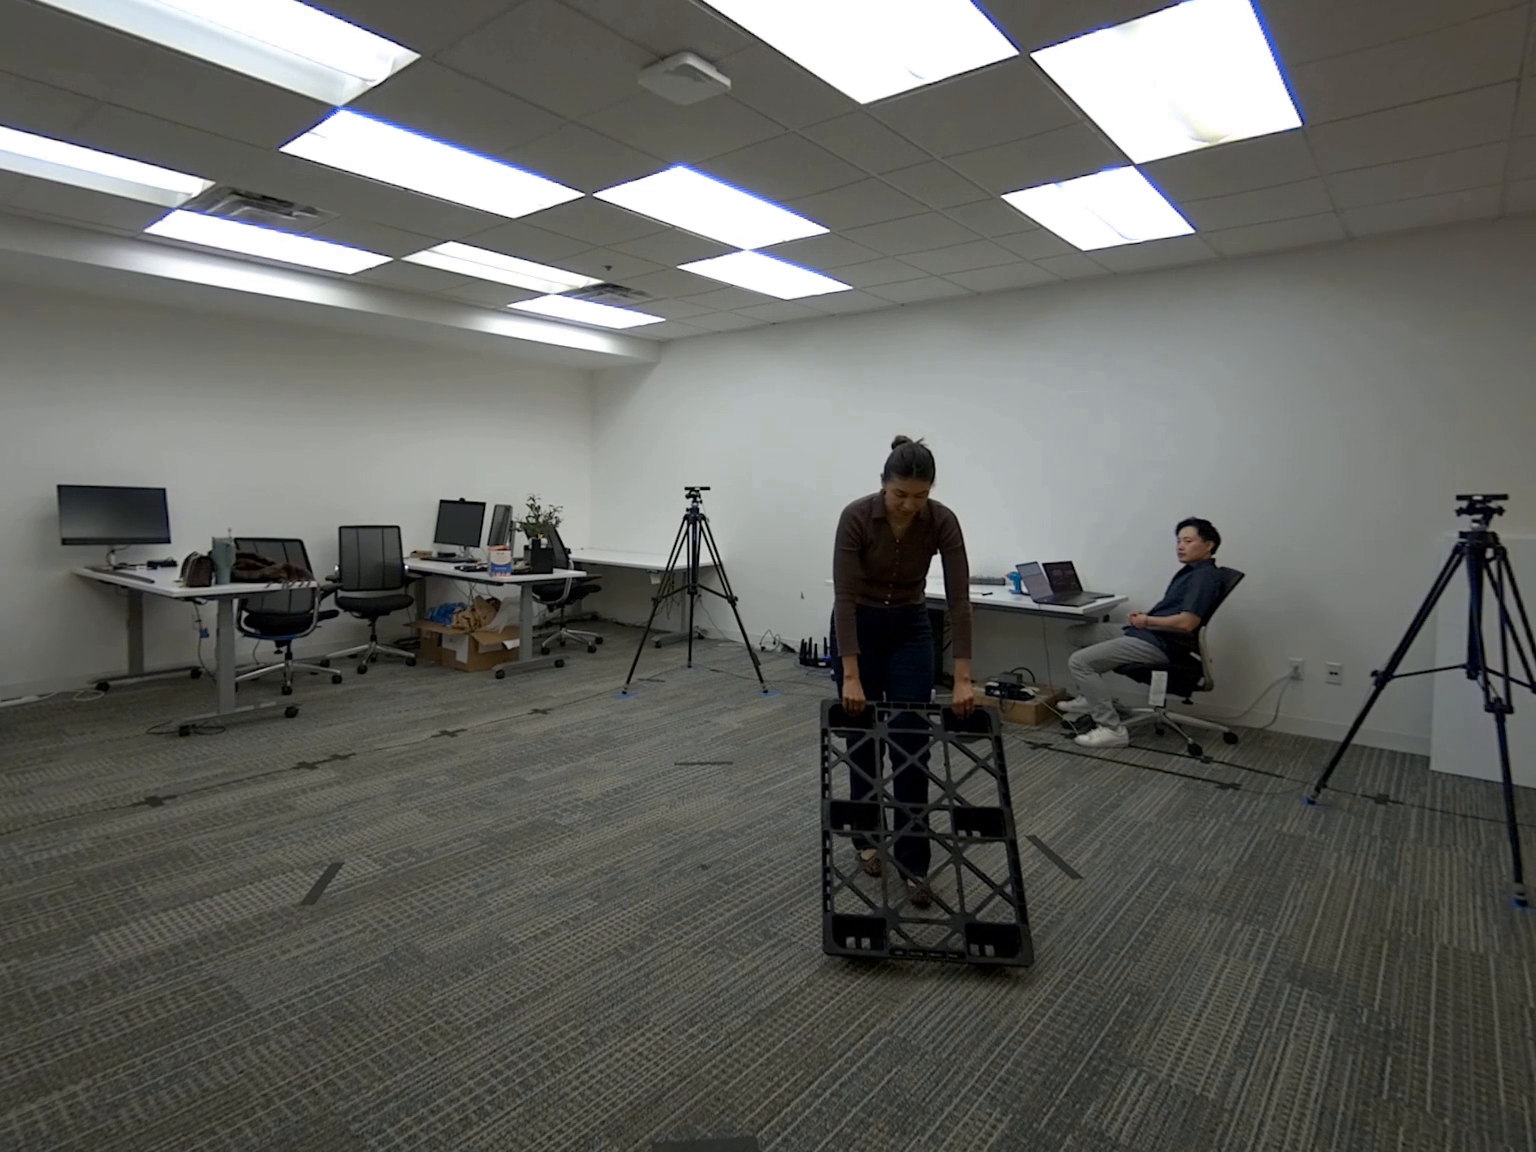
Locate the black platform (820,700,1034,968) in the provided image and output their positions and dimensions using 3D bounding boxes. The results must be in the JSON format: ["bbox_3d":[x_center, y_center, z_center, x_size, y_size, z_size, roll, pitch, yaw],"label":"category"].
[{"bbox_3d":[0.471,0.790,2.712,0.607,0.826,0.139,1,-35,3],"label":"black platform"}]
